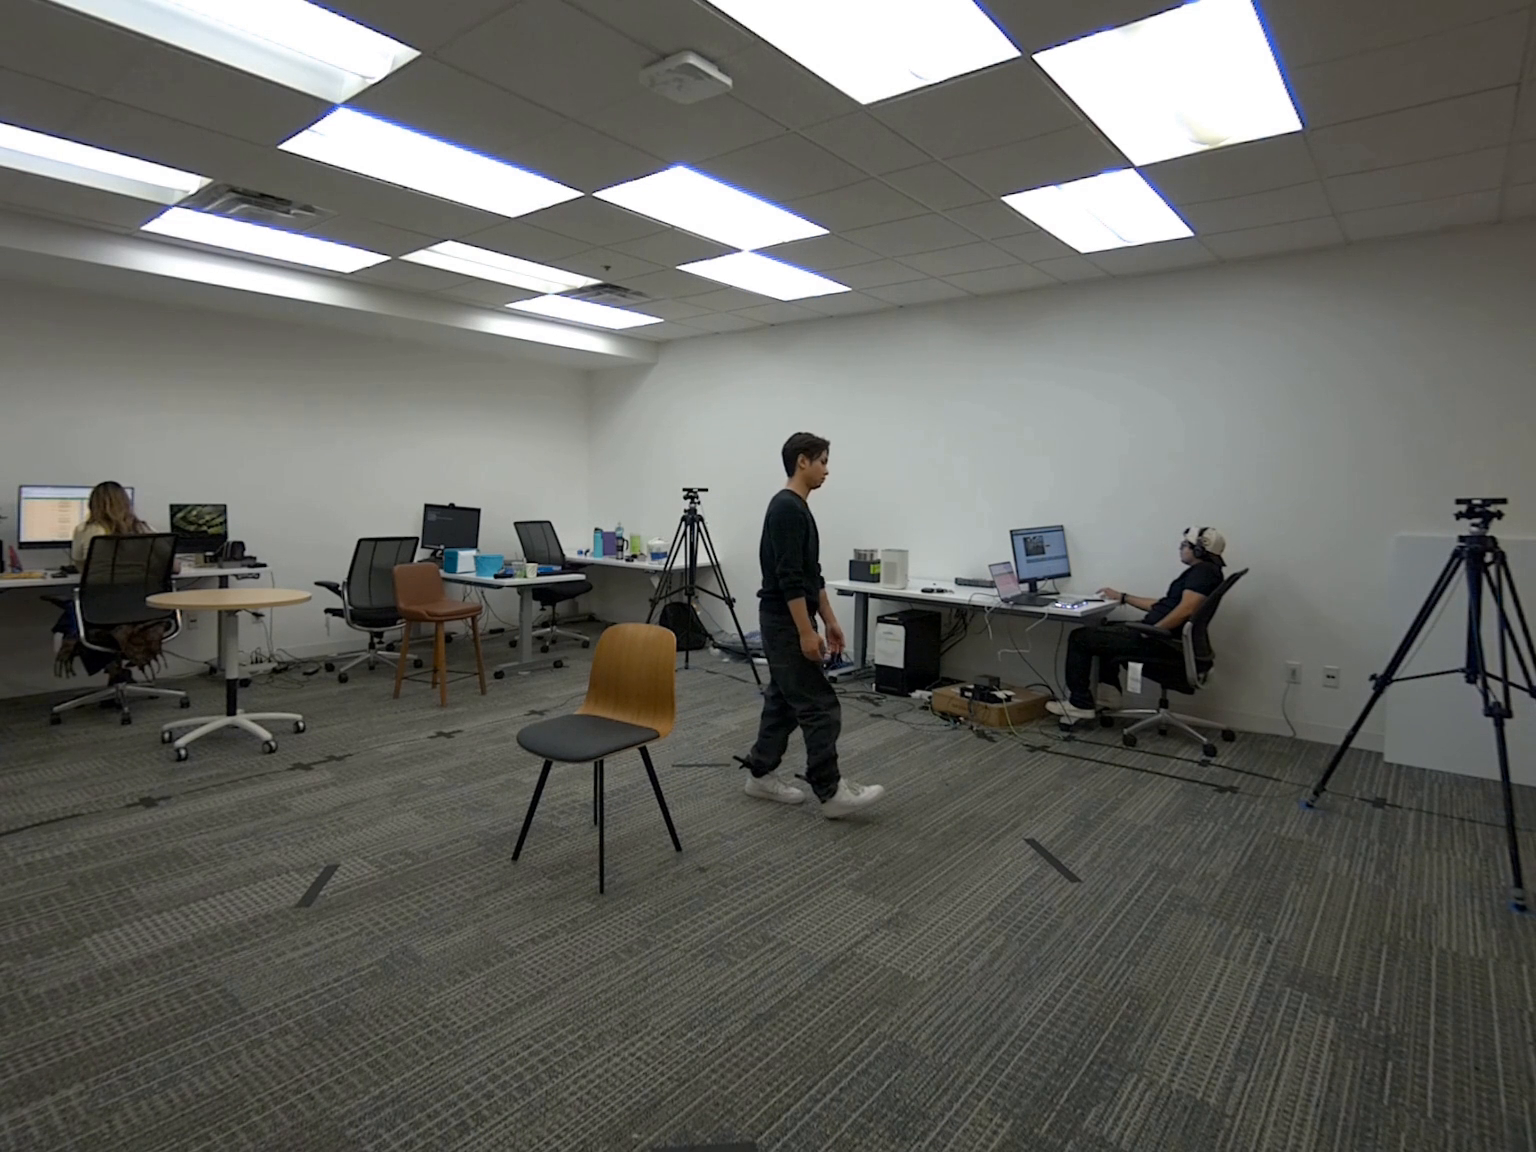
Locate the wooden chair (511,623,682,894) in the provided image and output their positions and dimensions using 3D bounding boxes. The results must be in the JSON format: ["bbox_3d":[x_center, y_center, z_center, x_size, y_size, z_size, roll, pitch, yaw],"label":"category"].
[{"bbox_3d":[-0.644,0.626,3.174,0.493,0.878,0.507,3,-1,33],"label":"wooden chair"}]
